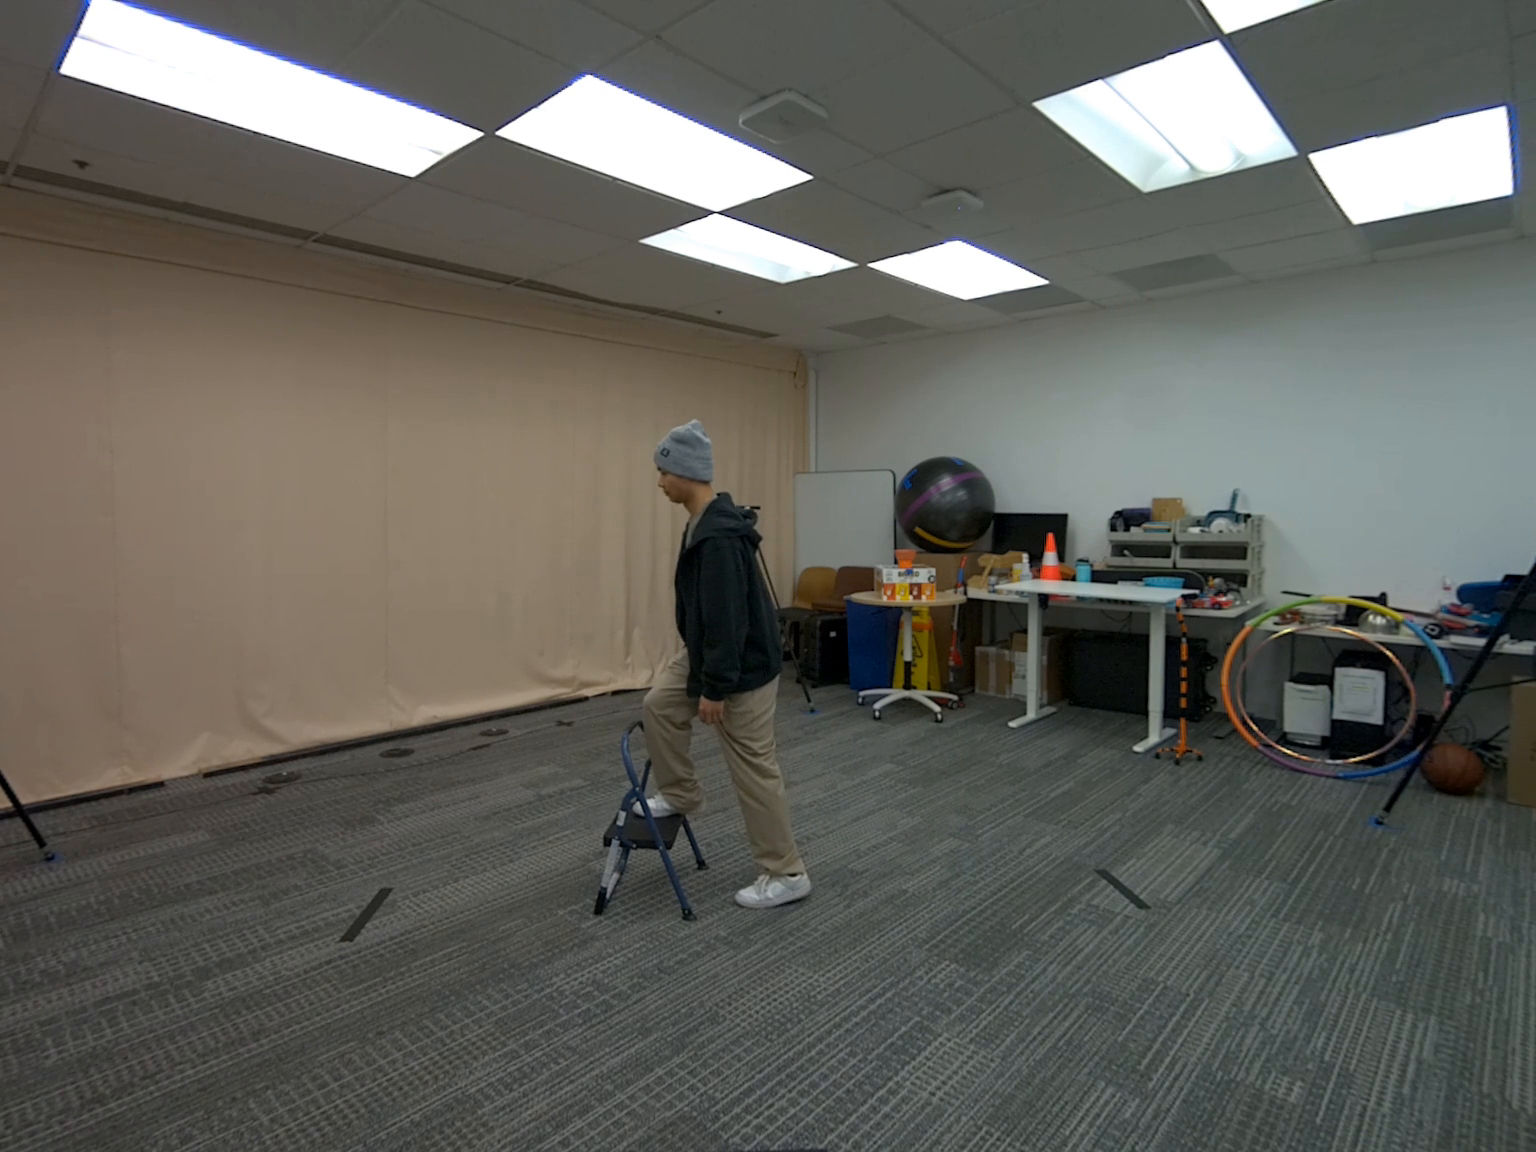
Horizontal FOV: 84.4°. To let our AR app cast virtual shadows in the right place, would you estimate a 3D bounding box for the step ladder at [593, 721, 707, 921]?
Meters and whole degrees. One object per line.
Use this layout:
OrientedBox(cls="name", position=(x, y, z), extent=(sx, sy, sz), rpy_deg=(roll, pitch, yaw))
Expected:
OrientedBox(cls="step ladder", position=(-0.417, 0.846, 3.042), extent=(0.351, 0.605, 0.430), rpy_deg=(-1, 3, 3))
